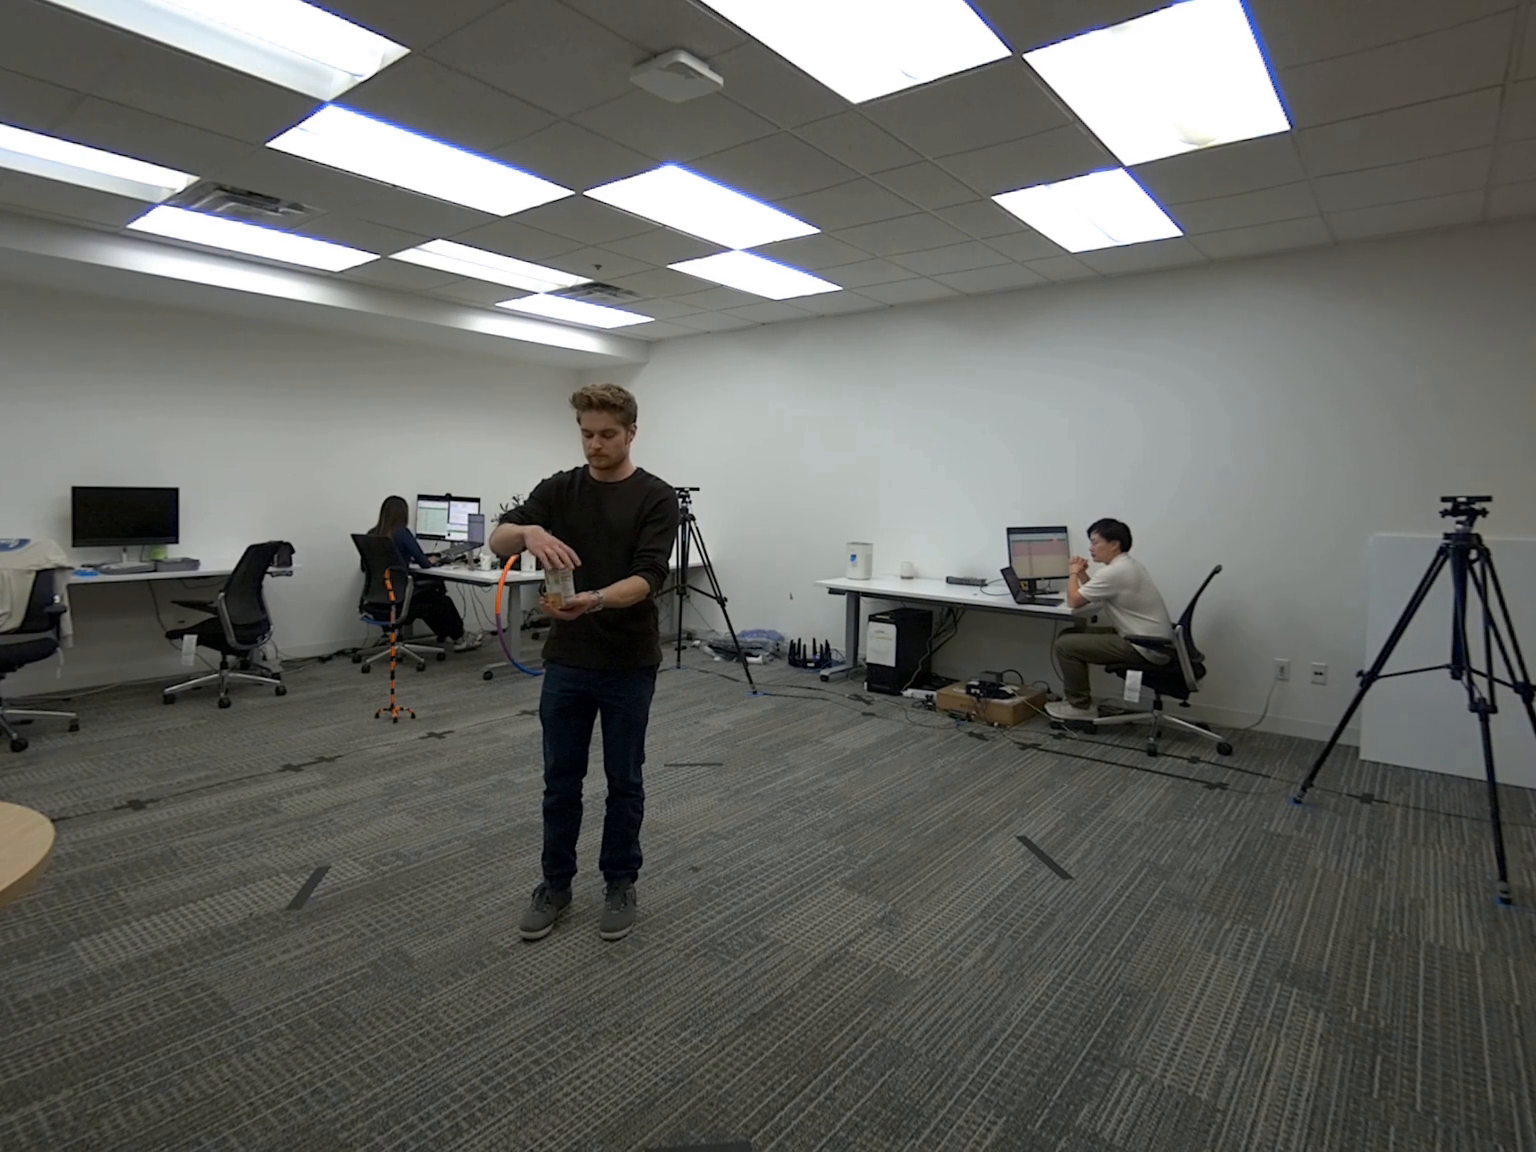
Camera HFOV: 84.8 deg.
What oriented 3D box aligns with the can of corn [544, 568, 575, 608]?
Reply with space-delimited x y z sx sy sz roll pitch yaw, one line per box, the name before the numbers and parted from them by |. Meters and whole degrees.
can of corn | -0.573 0.026 2.309 0.074 0.110 0.075 -2 8 -2
